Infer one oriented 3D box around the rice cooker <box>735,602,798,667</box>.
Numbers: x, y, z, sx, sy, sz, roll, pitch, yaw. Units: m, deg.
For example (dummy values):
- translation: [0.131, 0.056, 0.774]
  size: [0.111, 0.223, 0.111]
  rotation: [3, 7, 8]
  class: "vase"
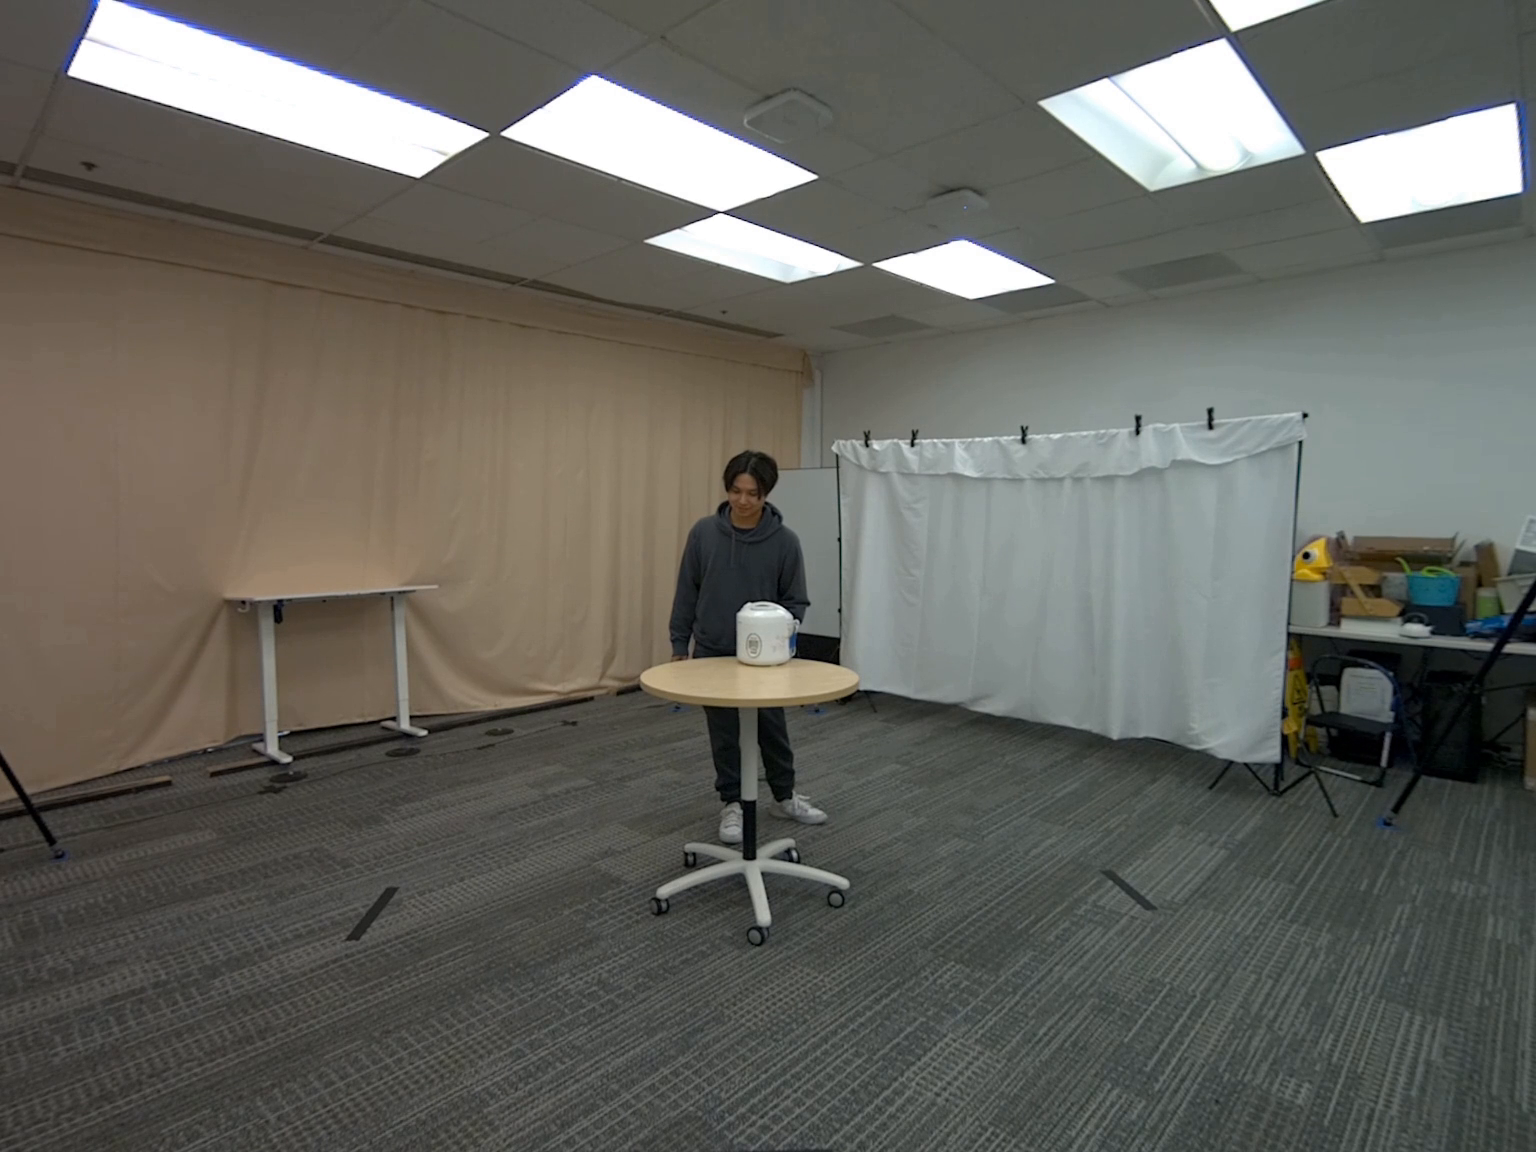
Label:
- translation: [-0.013, 0.215, 3.207]
  size: [0.226, 0.232, 0.212]
  rotation: [1, 2, 23]
  class: "rice cooker"
